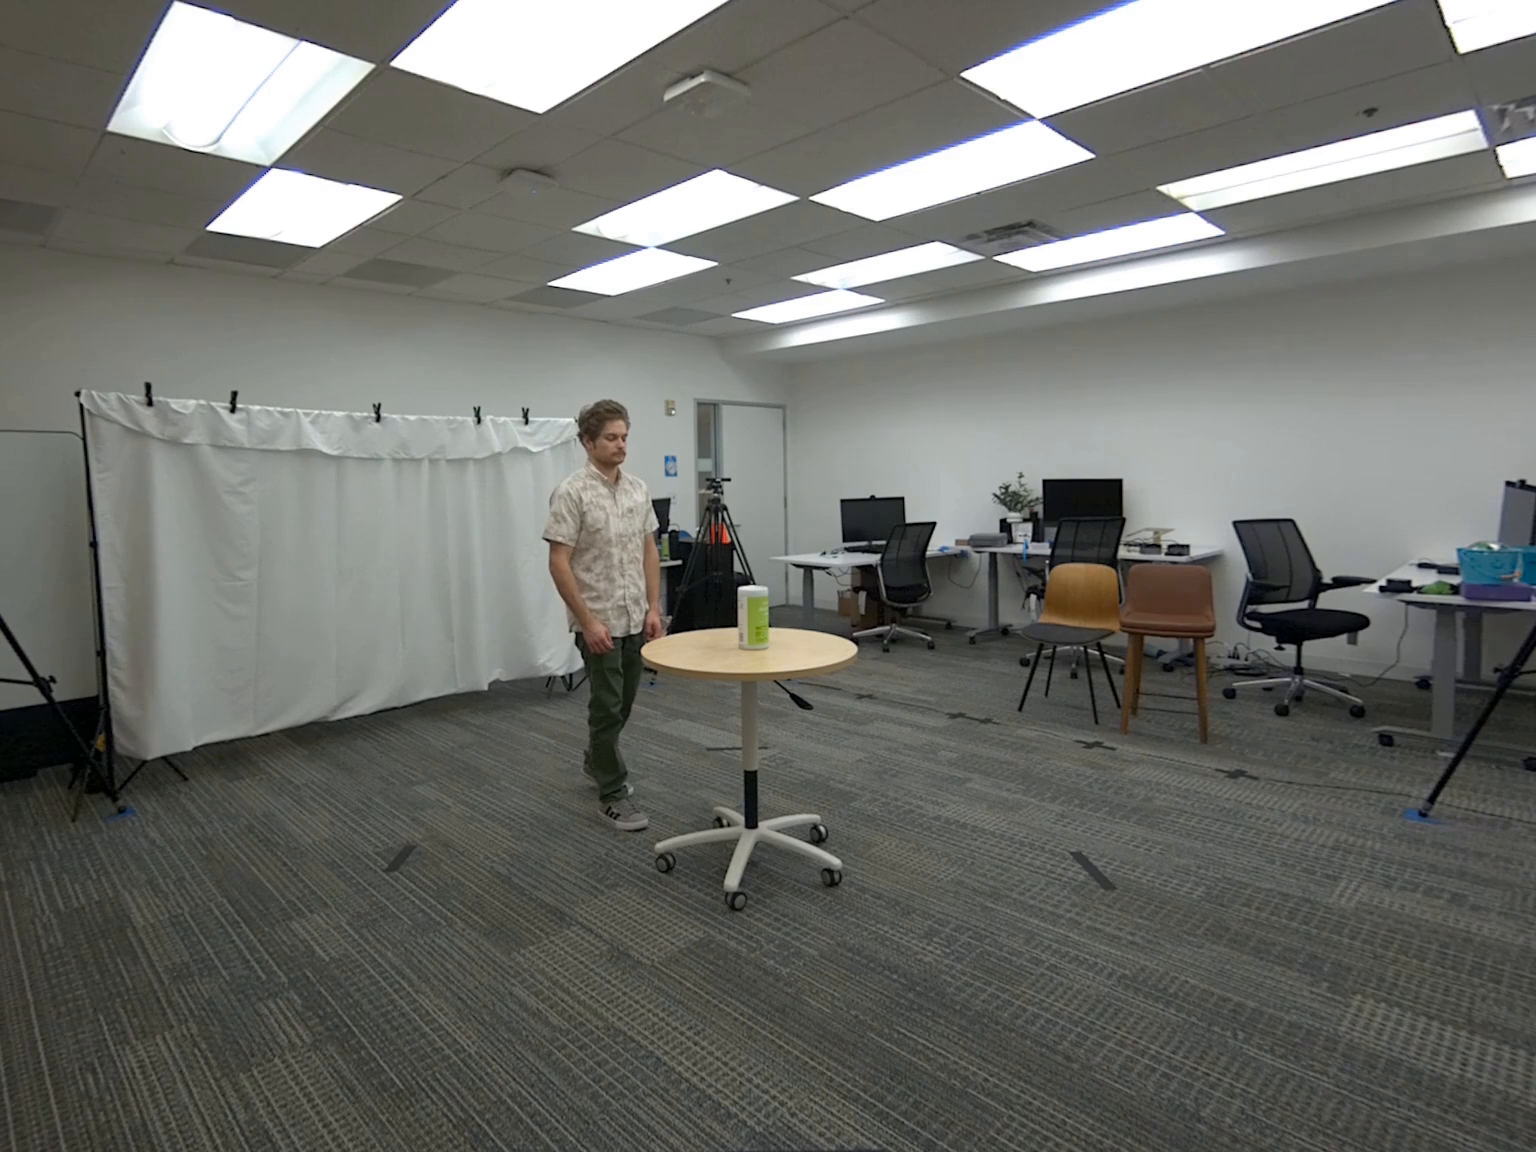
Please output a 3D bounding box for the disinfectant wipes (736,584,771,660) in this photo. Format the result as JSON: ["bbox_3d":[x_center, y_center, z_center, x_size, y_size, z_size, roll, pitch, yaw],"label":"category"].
[{"bbox_3d":[-0.054,0.148,3.030,0.118,0.217,0.118,-1,4,-2],"label":"disinfectant wipes"}]
